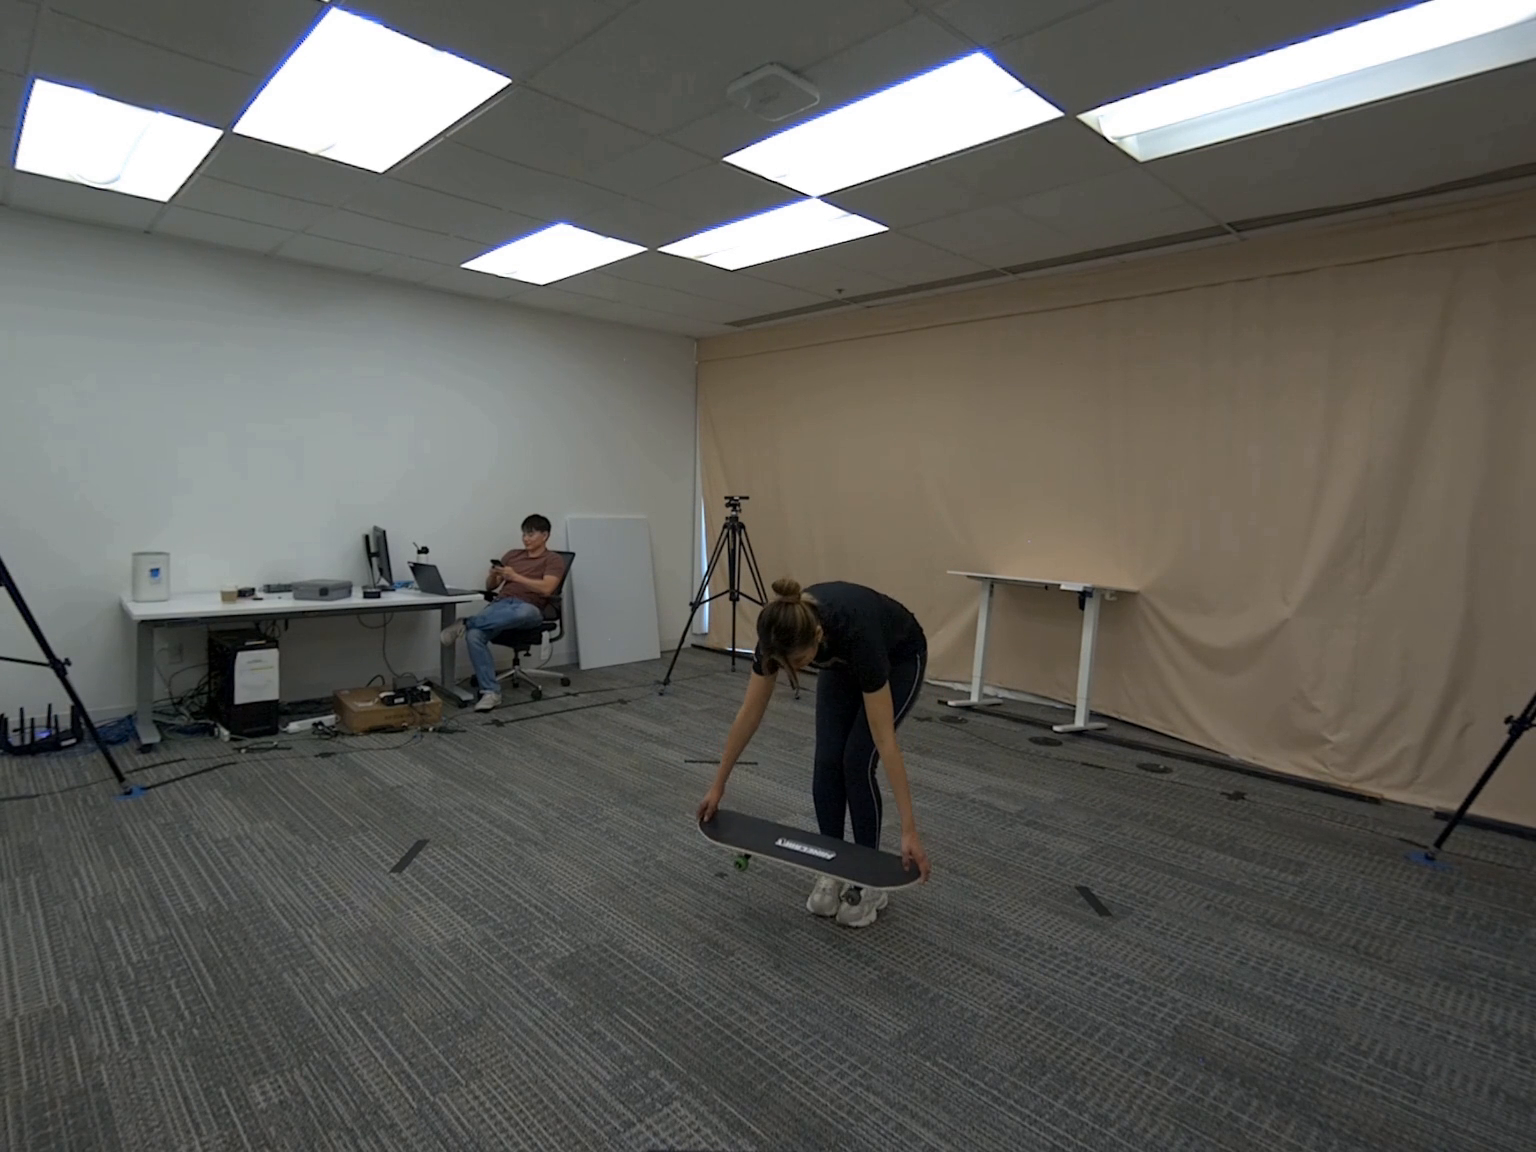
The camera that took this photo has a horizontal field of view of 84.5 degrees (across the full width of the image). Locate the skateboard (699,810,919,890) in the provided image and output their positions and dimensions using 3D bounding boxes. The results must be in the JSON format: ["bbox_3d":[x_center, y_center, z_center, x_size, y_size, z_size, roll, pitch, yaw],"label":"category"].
[{"bbox_3d":[0.114,0.900,2.667,0.803,0.109,0.191,3,14,33],"label":"skateboard"}]
